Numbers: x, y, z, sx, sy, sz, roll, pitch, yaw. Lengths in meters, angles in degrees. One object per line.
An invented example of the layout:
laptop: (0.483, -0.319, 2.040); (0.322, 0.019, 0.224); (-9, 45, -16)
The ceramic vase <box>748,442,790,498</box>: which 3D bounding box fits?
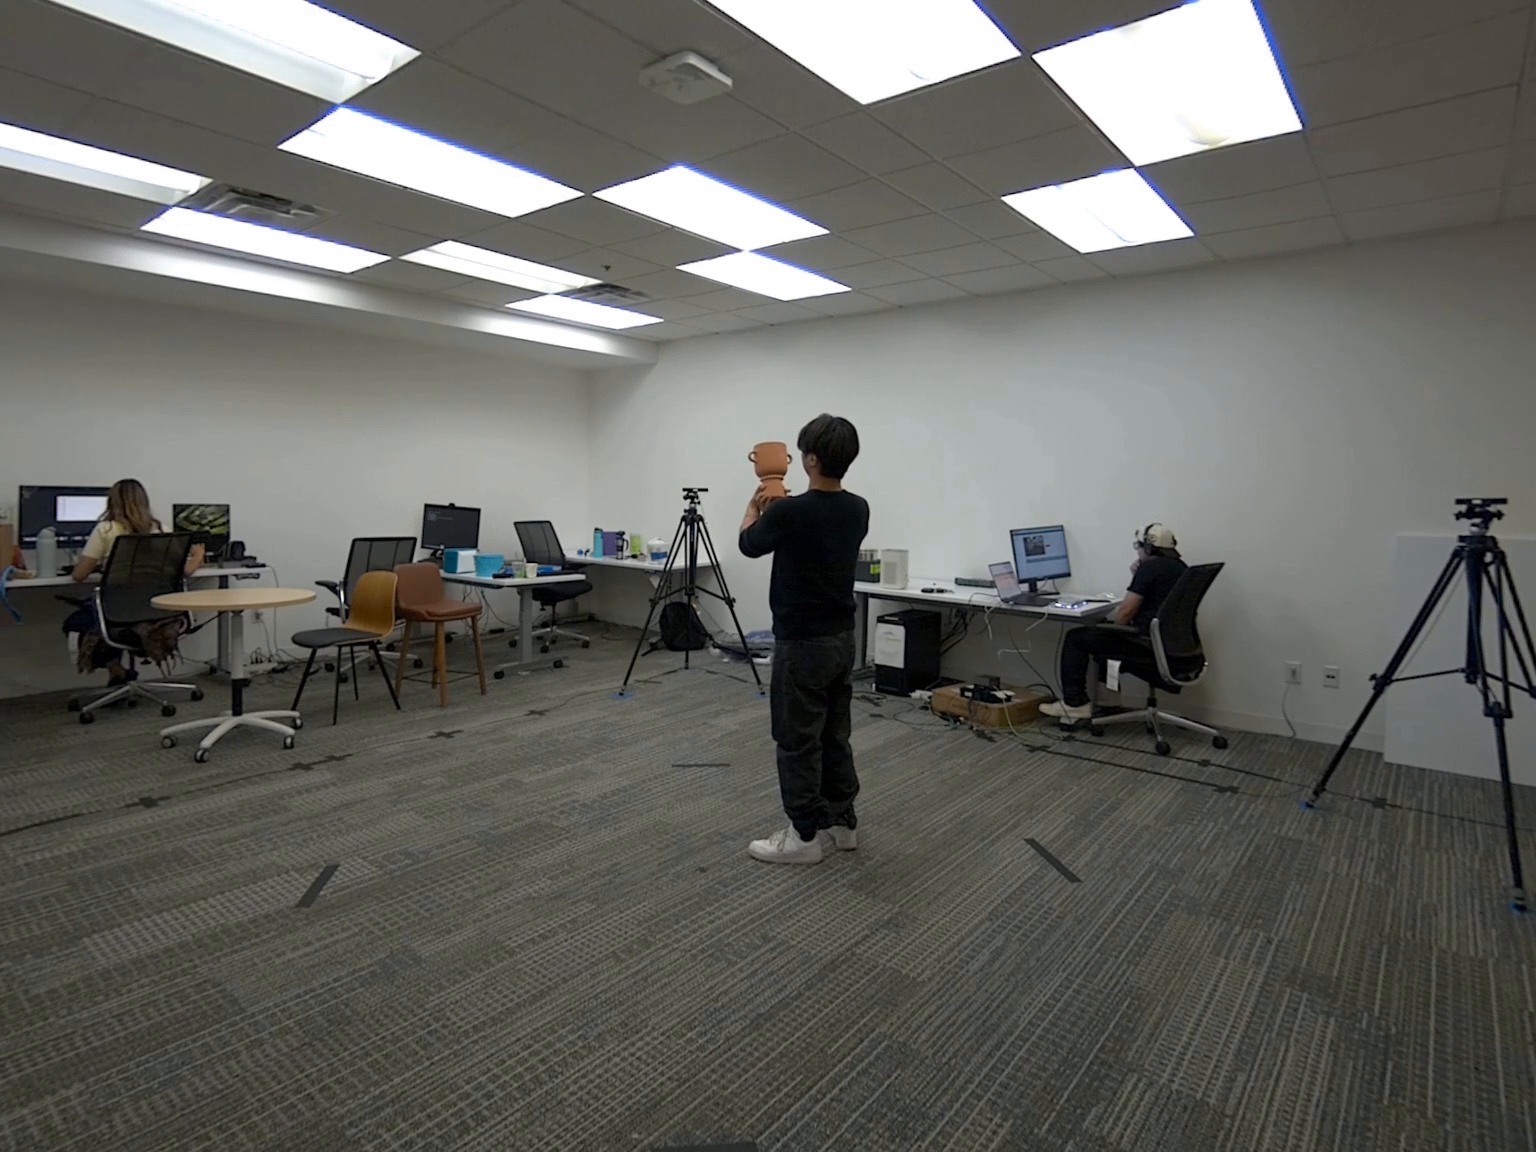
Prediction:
ceramic vase: (0.005, -0.420, 3.404); (0.161, 0.222, 0.131); (-5, -9, 14)
